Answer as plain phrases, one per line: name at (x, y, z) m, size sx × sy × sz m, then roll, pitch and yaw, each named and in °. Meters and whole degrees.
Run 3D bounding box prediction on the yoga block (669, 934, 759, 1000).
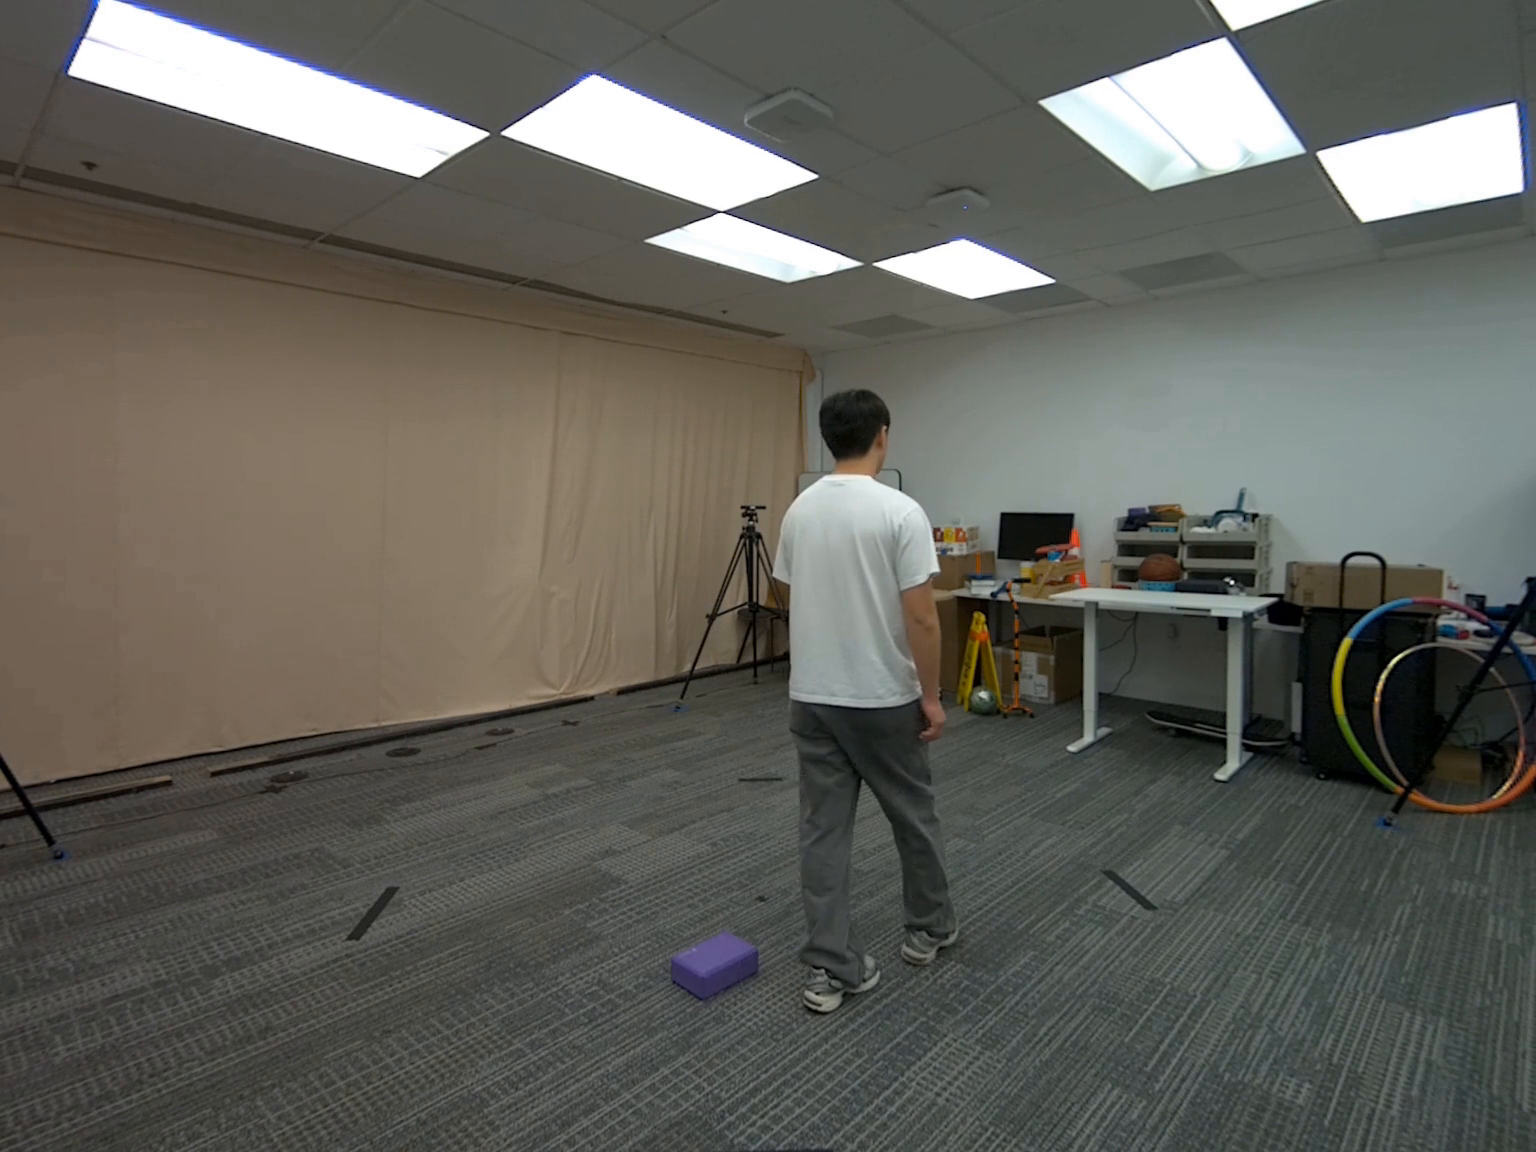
yoga block at (-0.145, 1.153, 2.487) m, size 0.154 × 0.076 × 0.222 m, roll 3°, pitch 6°, yaw 45°
